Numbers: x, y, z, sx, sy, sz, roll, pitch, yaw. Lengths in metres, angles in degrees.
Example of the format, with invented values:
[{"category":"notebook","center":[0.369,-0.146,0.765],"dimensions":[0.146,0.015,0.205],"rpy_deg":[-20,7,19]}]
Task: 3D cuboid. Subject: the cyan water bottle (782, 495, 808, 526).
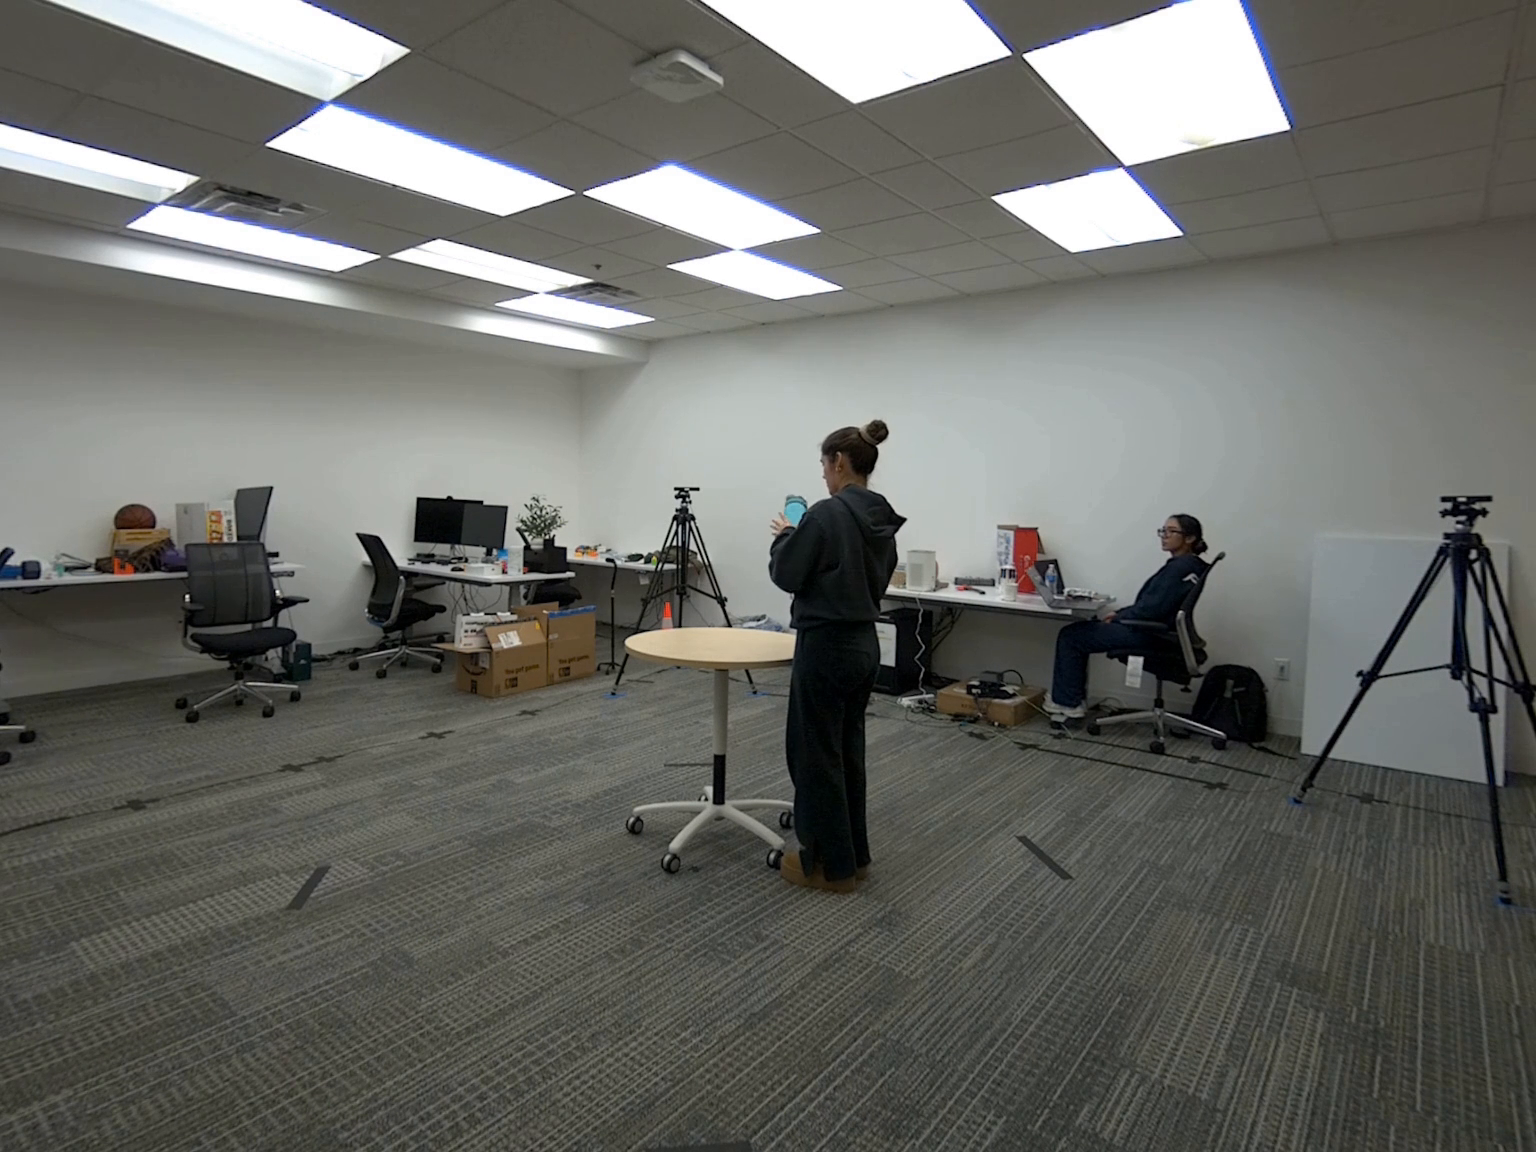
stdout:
[{"category":"cyan water bottle","center":[0.103,-0.183,3.275],"dimensions":[0.092,0.291,0.090],"rpy_deg":[-1,-35,-3]}]
